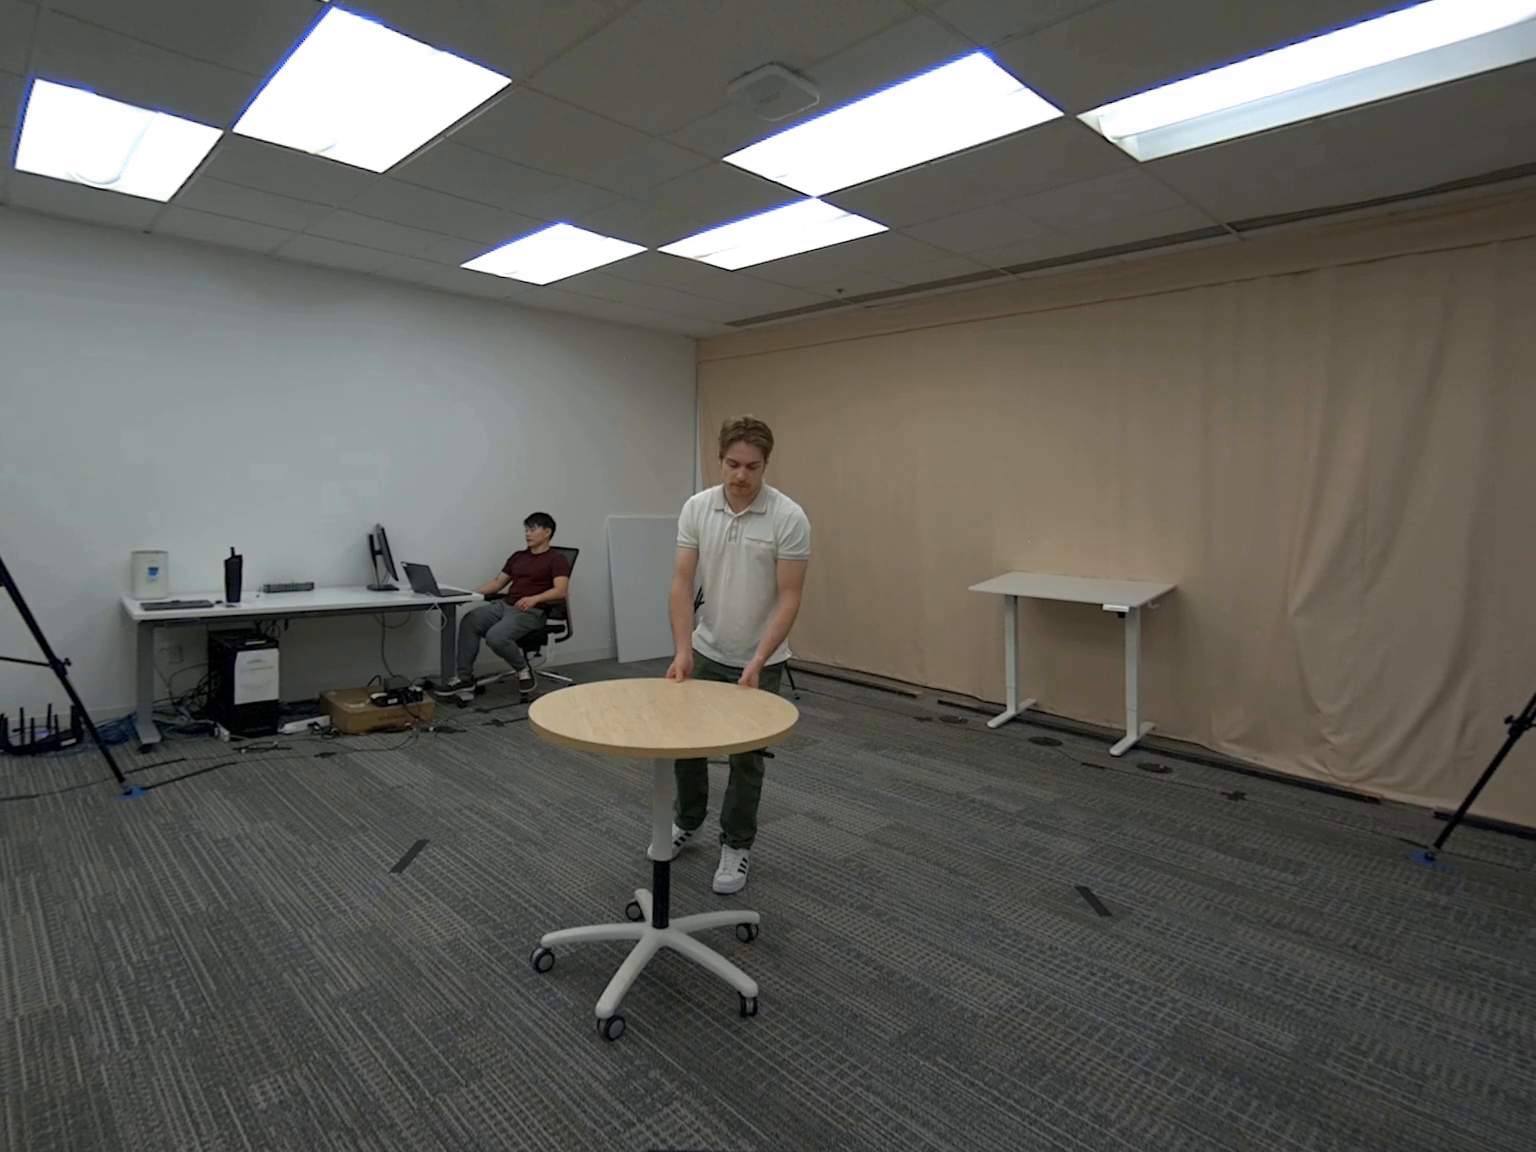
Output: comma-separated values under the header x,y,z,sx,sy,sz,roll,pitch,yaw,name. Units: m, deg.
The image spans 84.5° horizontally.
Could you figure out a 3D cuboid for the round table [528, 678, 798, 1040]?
x,y,z,sx,sy,sz,roll,pitch,yaw,name
-0.310,0.775,2.441,0.763,0.791,0.767,1,4,-1,round table
